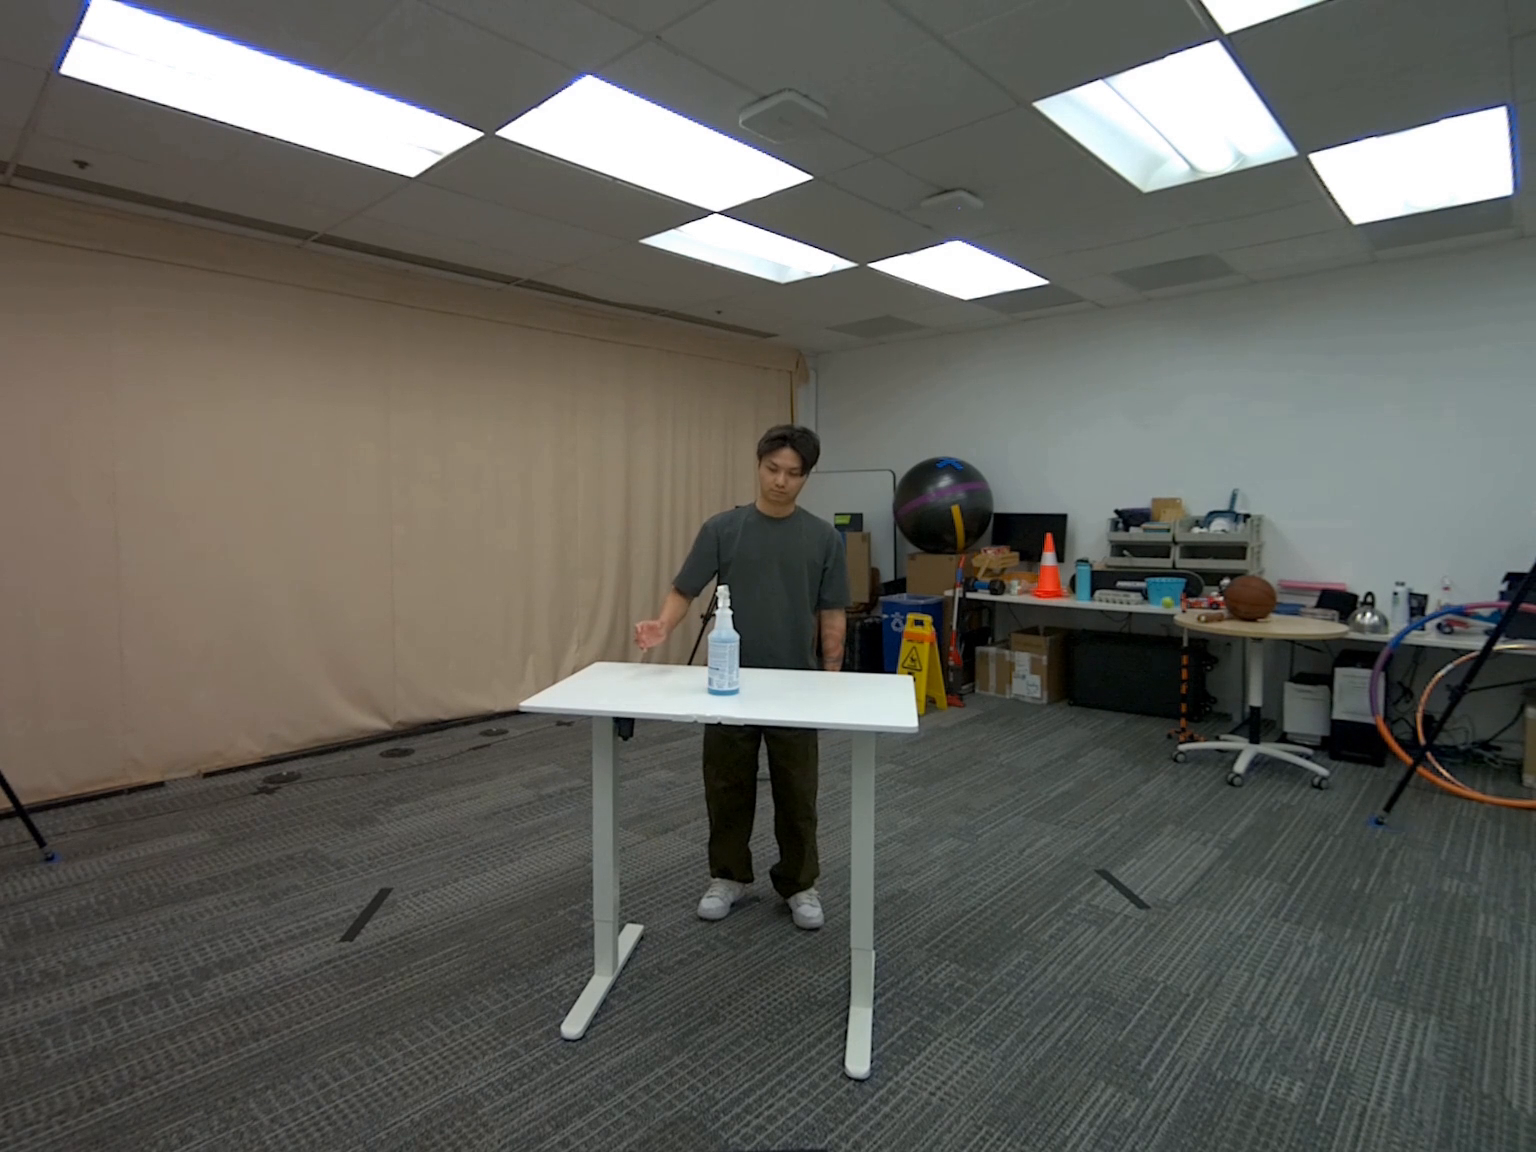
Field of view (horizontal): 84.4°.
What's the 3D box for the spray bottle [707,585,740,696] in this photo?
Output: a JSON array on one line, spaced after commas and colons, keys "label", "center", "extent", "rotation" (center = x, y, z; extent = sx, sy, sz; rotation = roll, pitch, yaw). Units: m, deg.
[{"label": "spray bottle", "center": [-0.121, 0.174, 2.300], "extent": [0.090, 0.296, 0.087], "rotation": [6, 5, 35]}]
